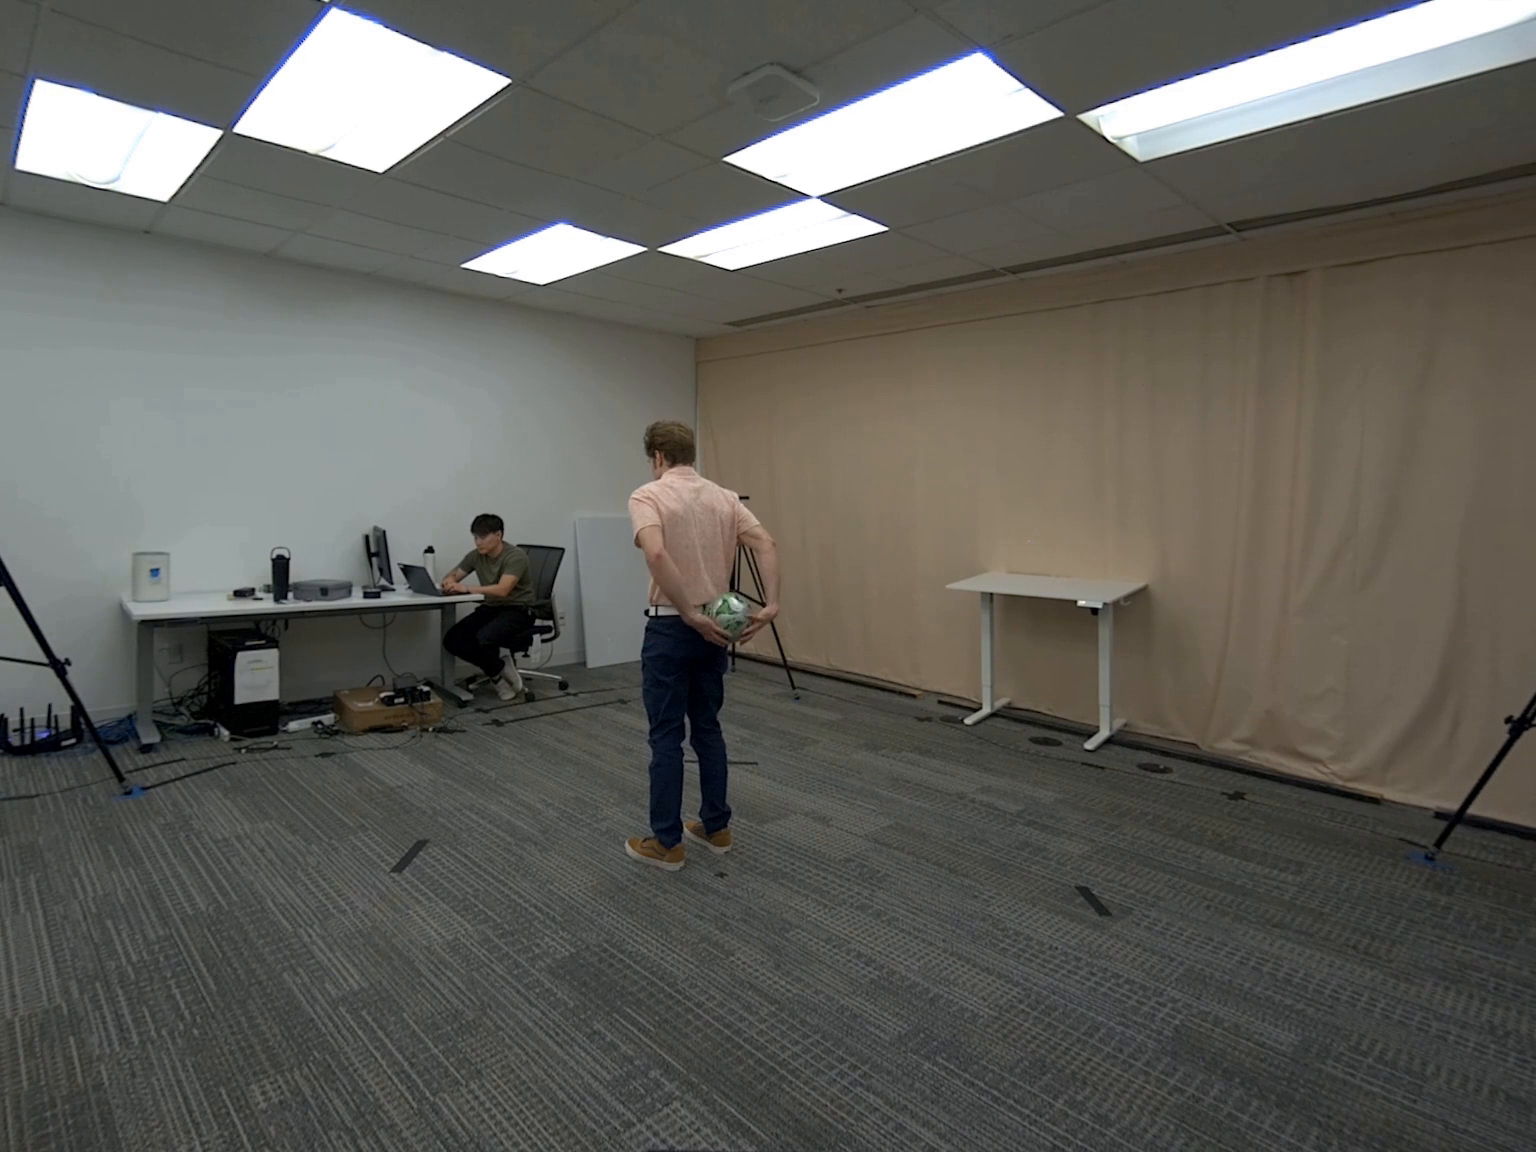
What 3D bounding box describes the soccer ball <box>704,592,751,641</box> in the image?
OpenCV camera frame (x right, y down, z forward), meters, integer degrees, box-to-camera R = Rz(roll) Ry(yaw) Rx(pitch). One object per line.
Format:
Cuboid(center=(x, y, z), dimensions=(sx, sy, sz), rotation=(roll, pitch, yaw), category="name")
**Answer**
Cuboid(center=(-0.163, 0.153, 3.091), dimensions=(0.187, 0.187, 0.188), rotation=(1, 4, -1), category="soccer ball")
